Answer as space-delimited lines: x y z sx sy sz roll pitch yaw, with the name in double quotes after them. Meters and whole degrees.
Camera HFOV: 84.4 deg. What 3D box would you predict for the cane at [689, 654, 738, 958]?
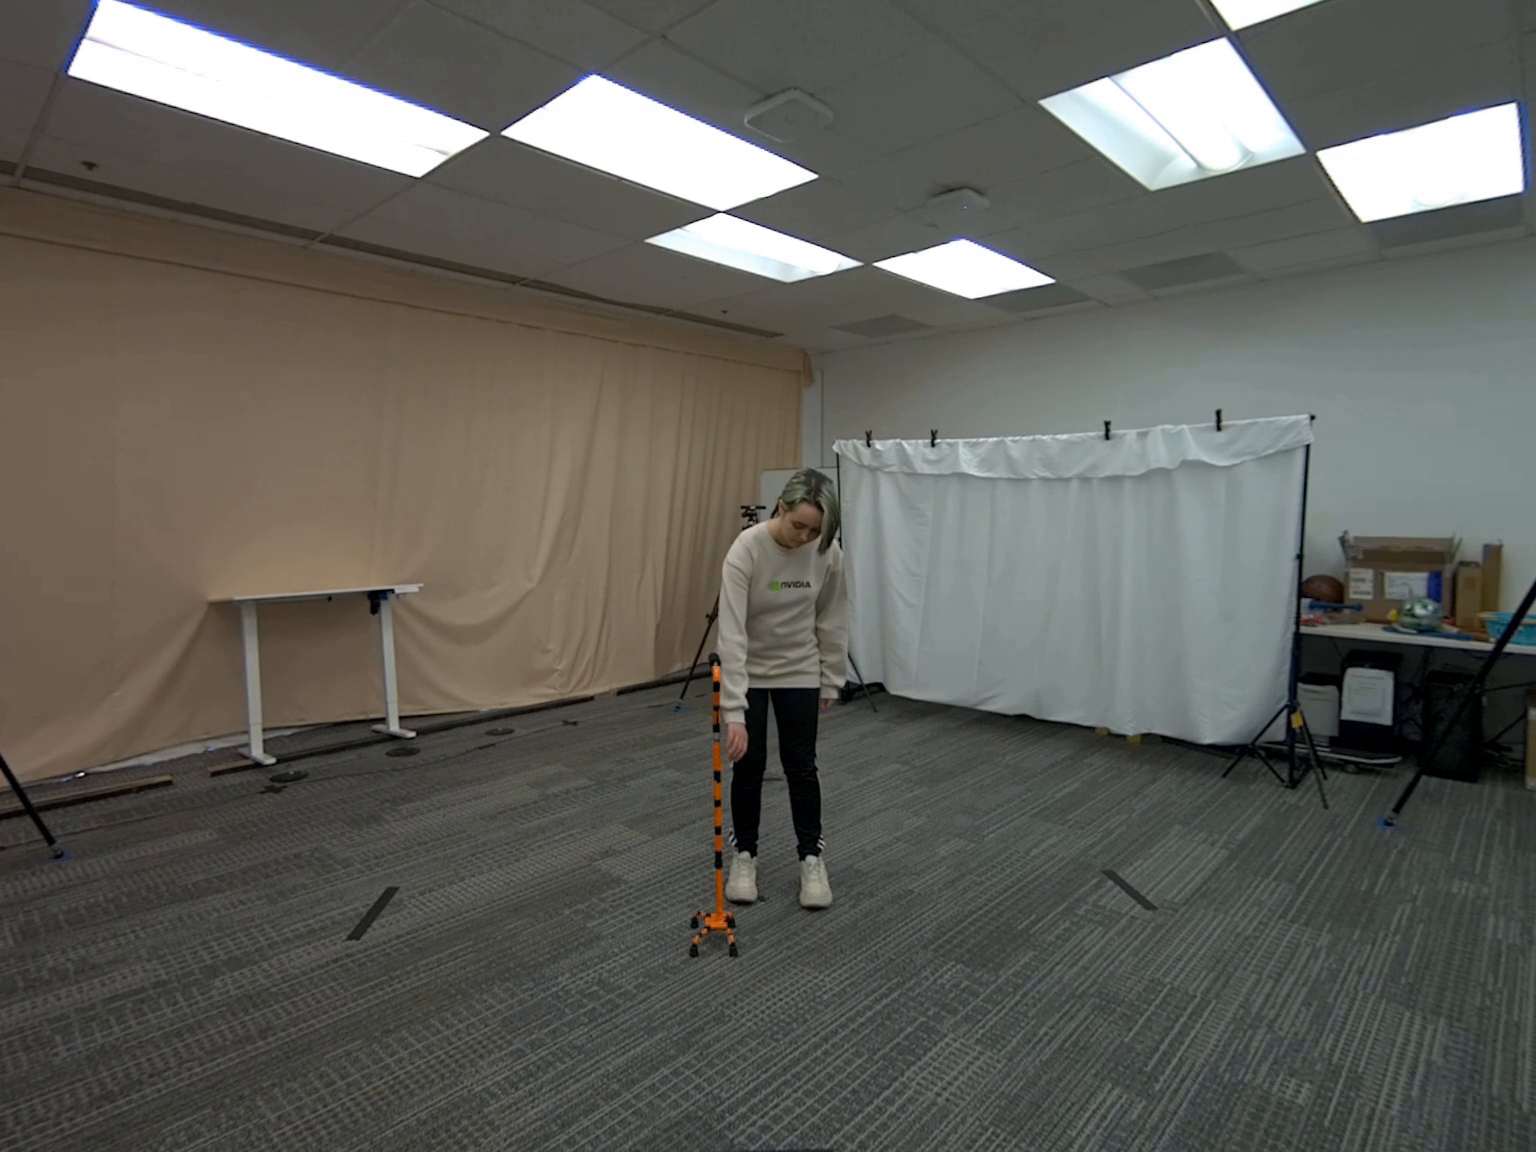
-0.169 0.713 2.671 0.151 0.906 0.207 -1 4 -4 "cane"
